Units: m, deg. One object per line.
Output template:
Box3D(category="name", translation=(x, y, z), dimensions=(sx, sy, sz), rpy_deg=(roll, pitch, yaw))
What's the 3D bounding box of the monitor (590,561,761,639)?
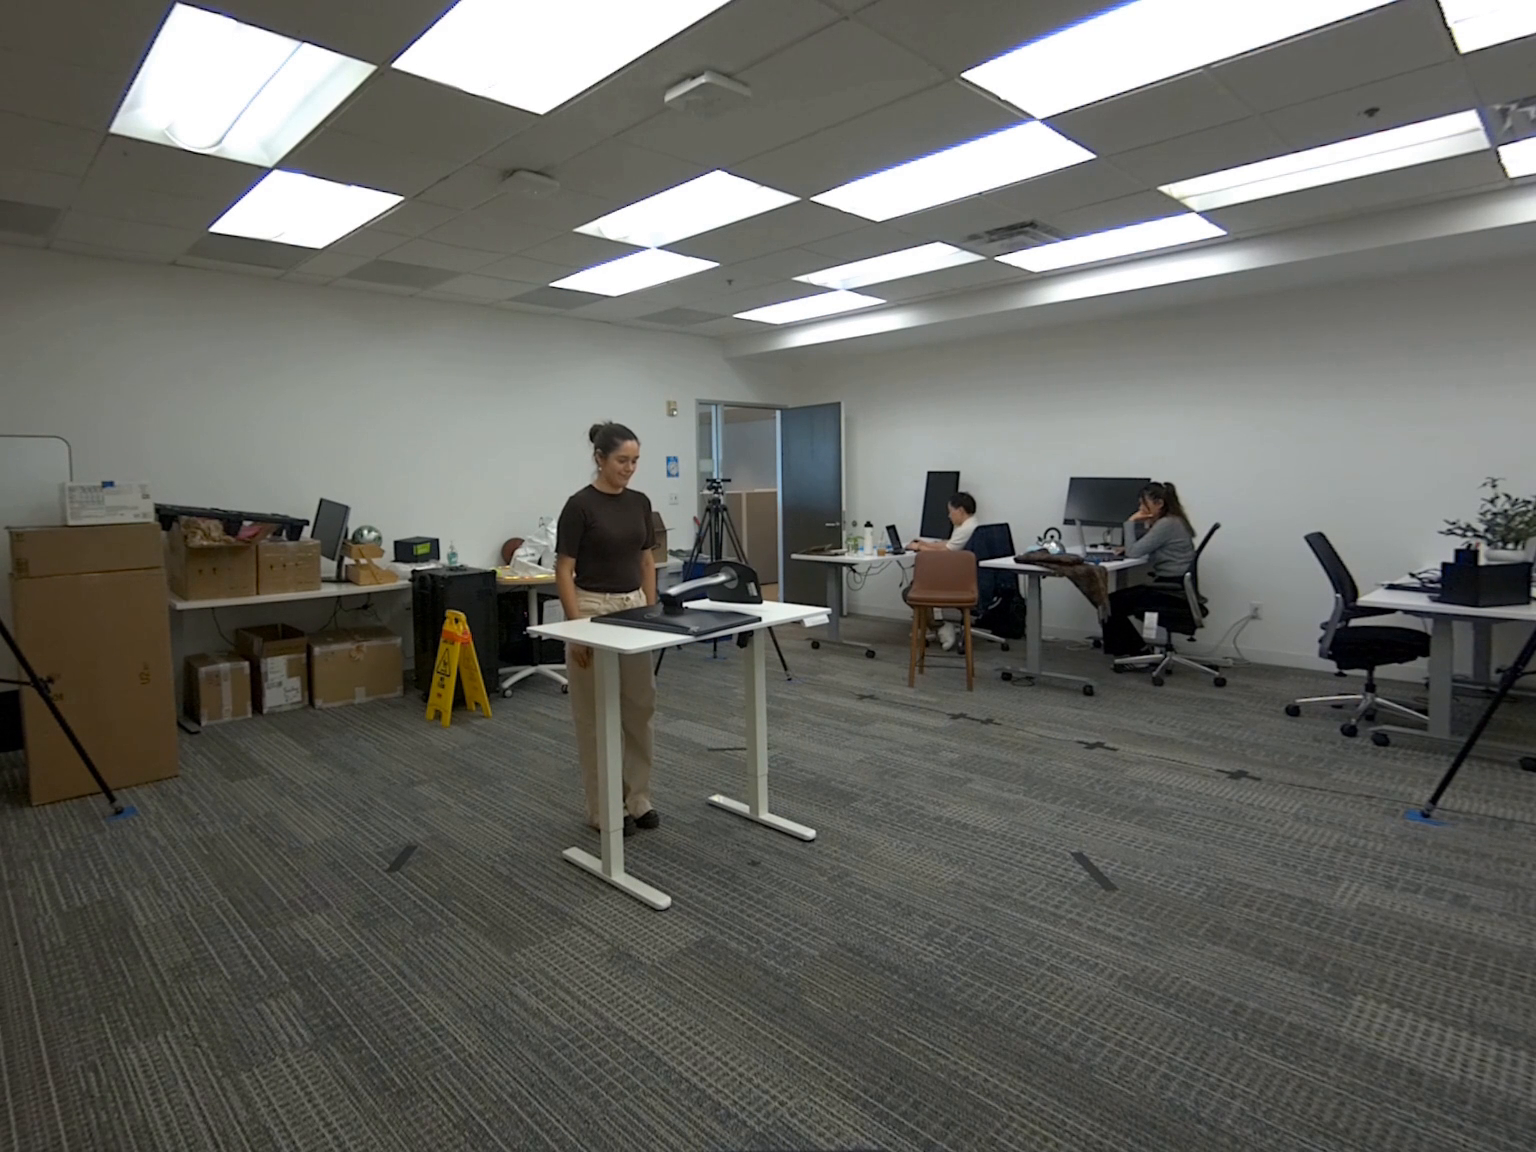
Box3D(category="monitor", translation=(-0.286, 0.106, 3.169), dimensions=(0.555, 0.184, 0.515), rpy_deg=(1, 19, 41))
